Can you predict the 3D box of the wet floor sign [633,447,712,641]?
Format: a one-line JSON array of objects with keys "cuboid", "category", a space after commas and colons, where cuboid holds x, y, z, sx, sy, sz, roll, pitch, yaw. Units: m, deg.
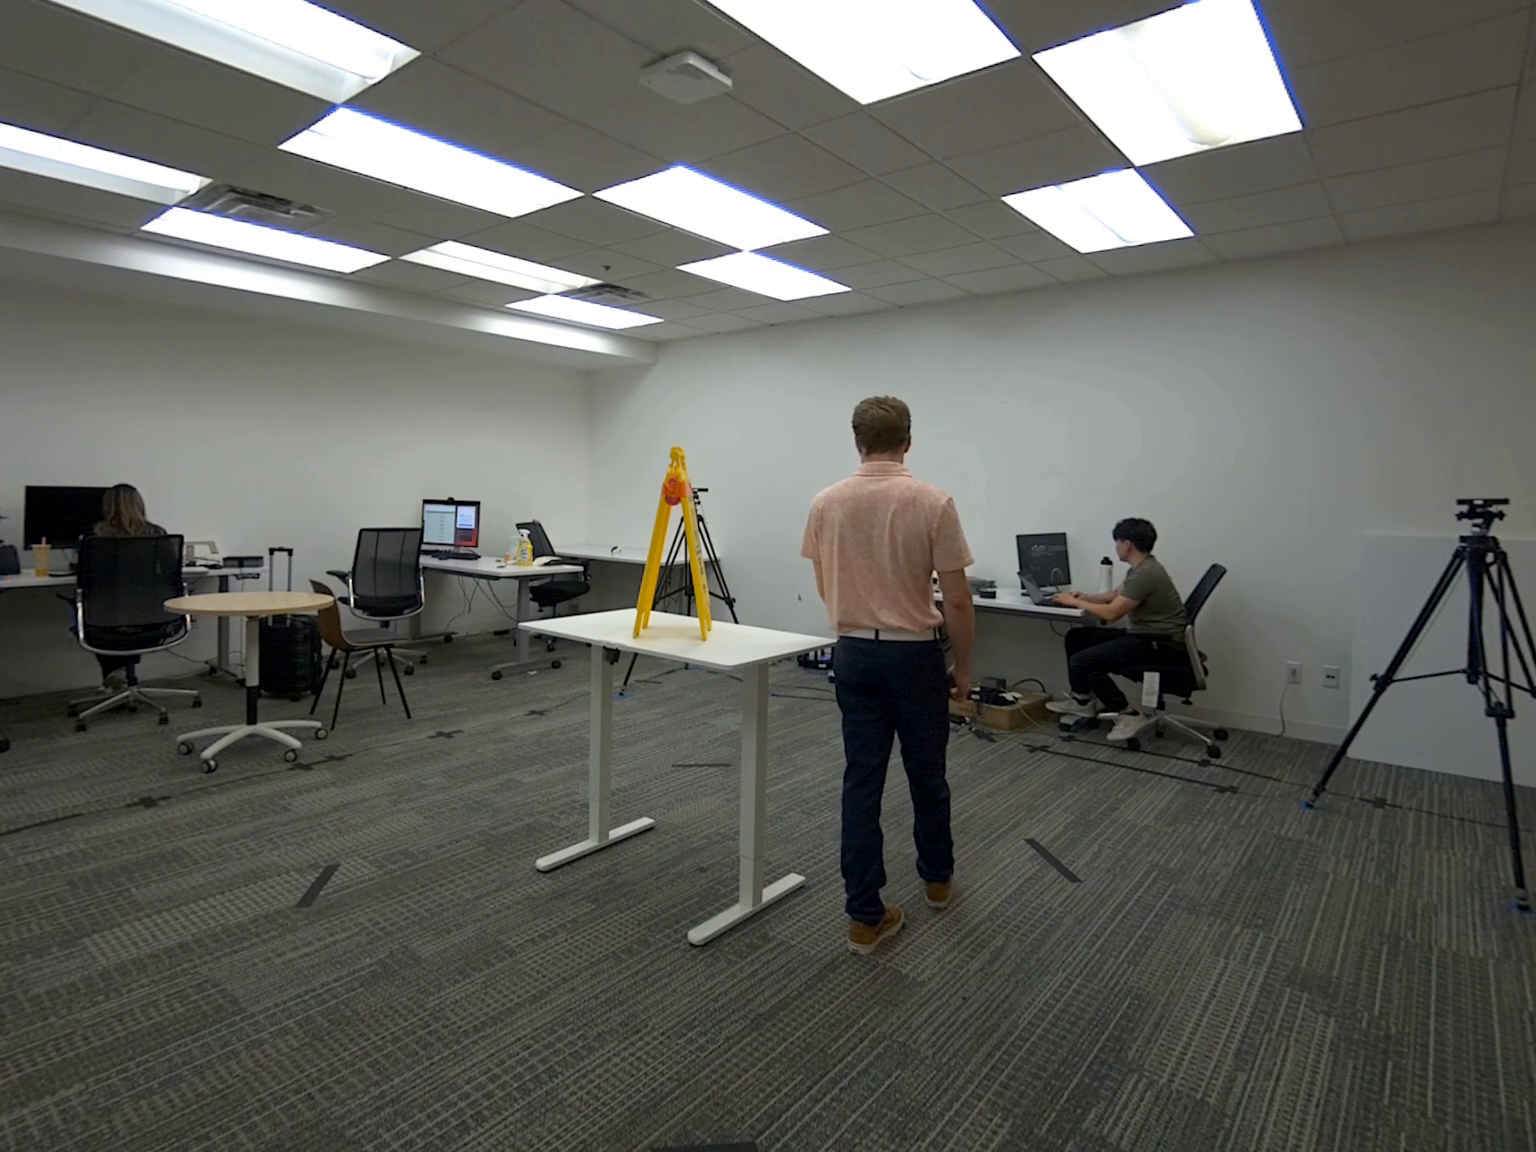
[{"cuboid": [-0.331, -0.126, 2.967, 0.290, 0.643, 0.283, 3, 4, 0], "category": "wet floor sign"}]
